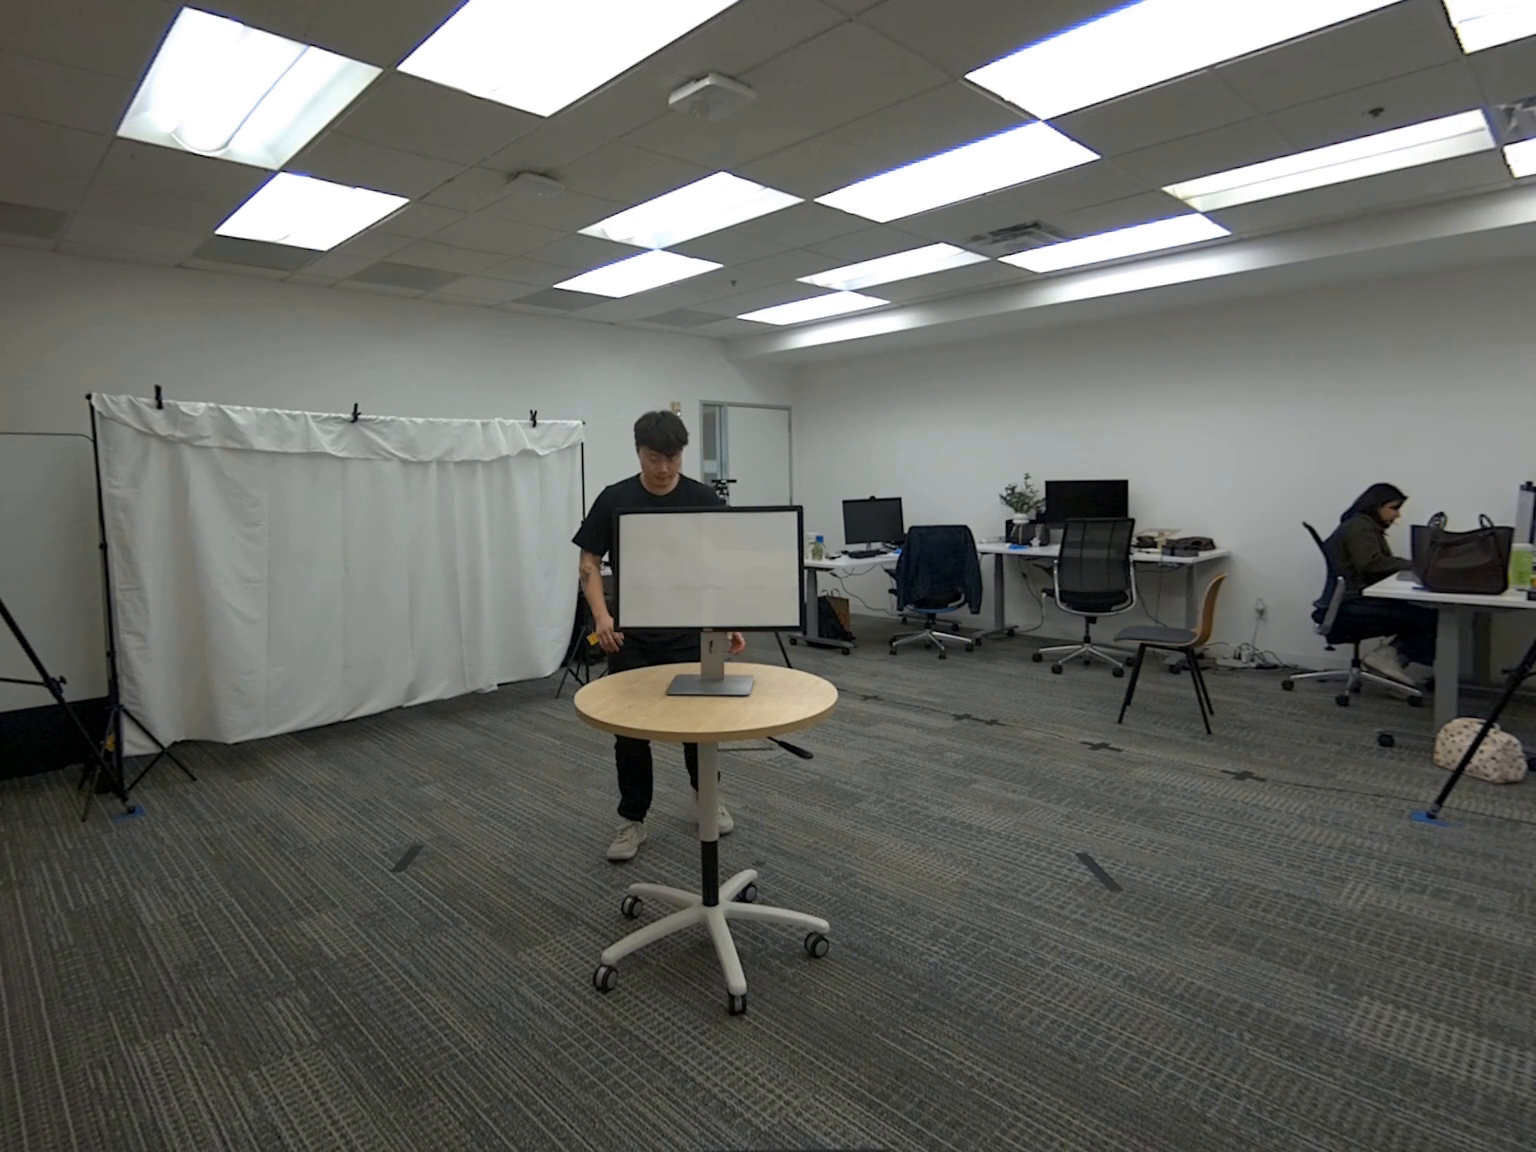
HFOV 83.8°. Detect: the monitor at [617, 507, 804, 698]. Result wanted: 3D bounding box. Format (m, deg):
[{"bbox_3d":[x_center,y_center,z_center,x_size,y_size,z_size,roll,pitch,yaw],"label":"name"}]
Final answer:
[{"bbox_3d":[-0.172,0.074,2.537,0.541,0.519,0.187,-1,6,3],"label":"monitor"}]
